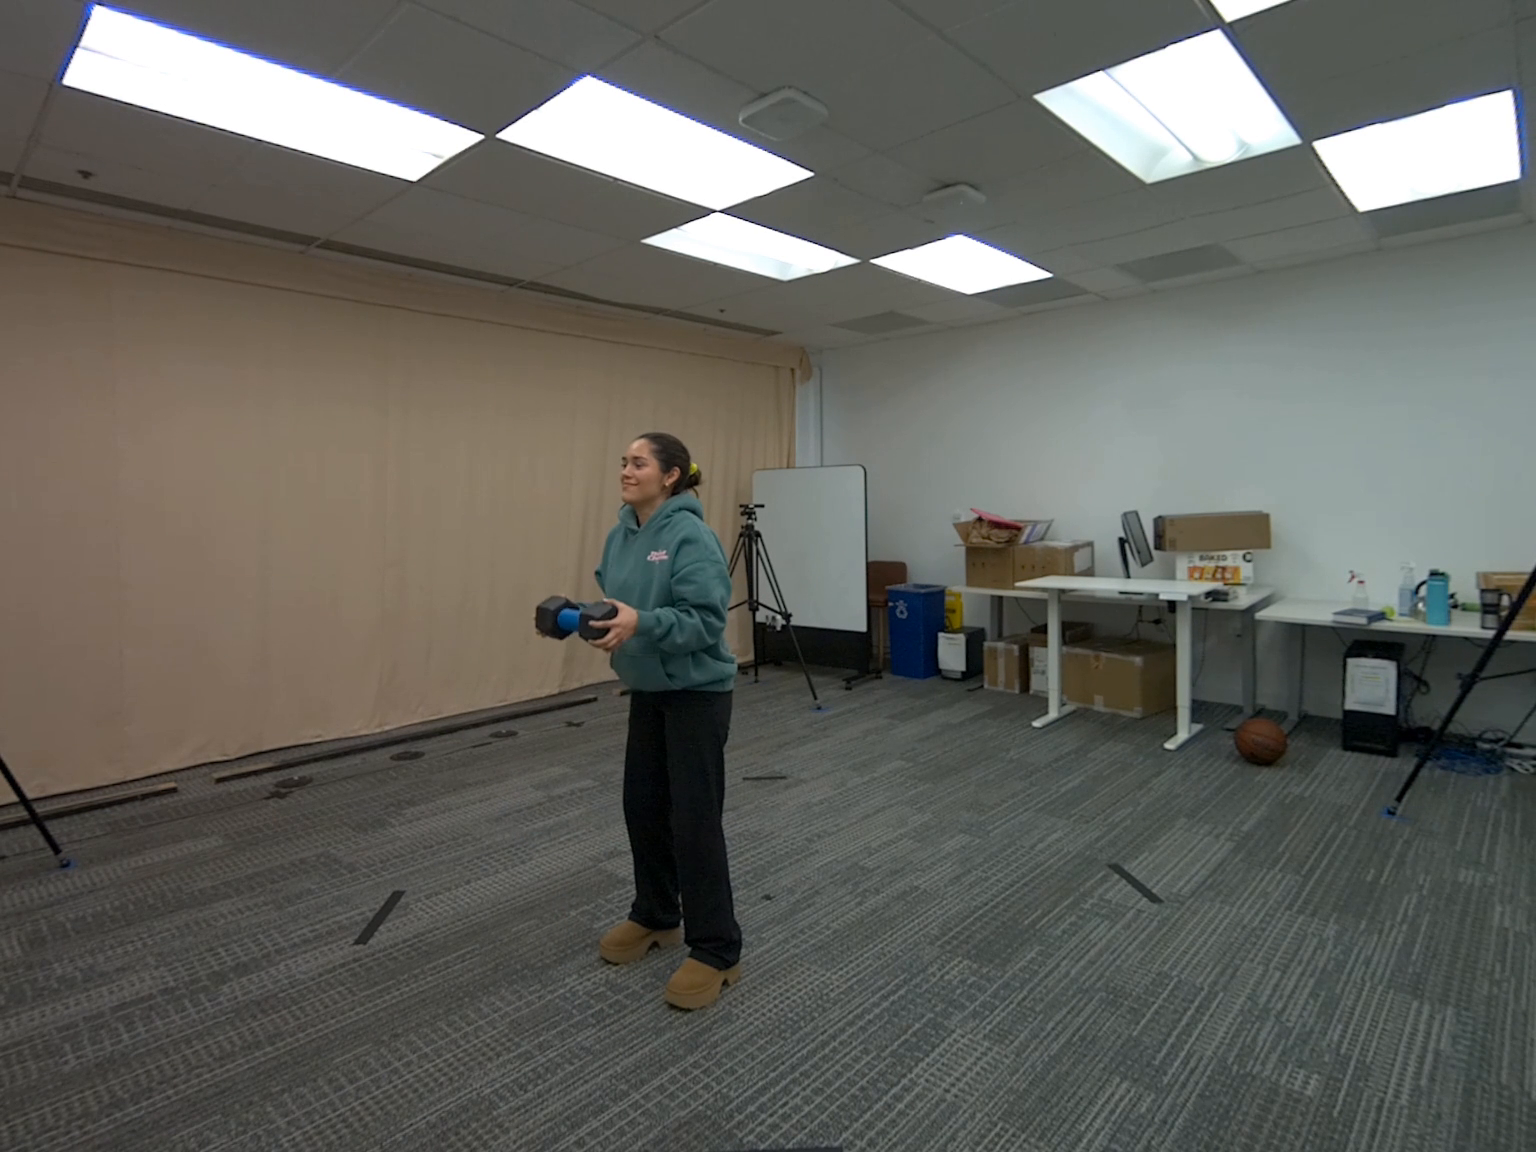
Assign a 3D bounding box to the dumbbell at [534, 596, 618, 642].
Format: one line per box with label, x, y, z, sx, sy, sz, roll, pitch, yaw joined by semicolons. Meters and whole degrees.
dumbbell;-0.504;0.129;2.308;0.303;0.106;0.121;5;34;43
